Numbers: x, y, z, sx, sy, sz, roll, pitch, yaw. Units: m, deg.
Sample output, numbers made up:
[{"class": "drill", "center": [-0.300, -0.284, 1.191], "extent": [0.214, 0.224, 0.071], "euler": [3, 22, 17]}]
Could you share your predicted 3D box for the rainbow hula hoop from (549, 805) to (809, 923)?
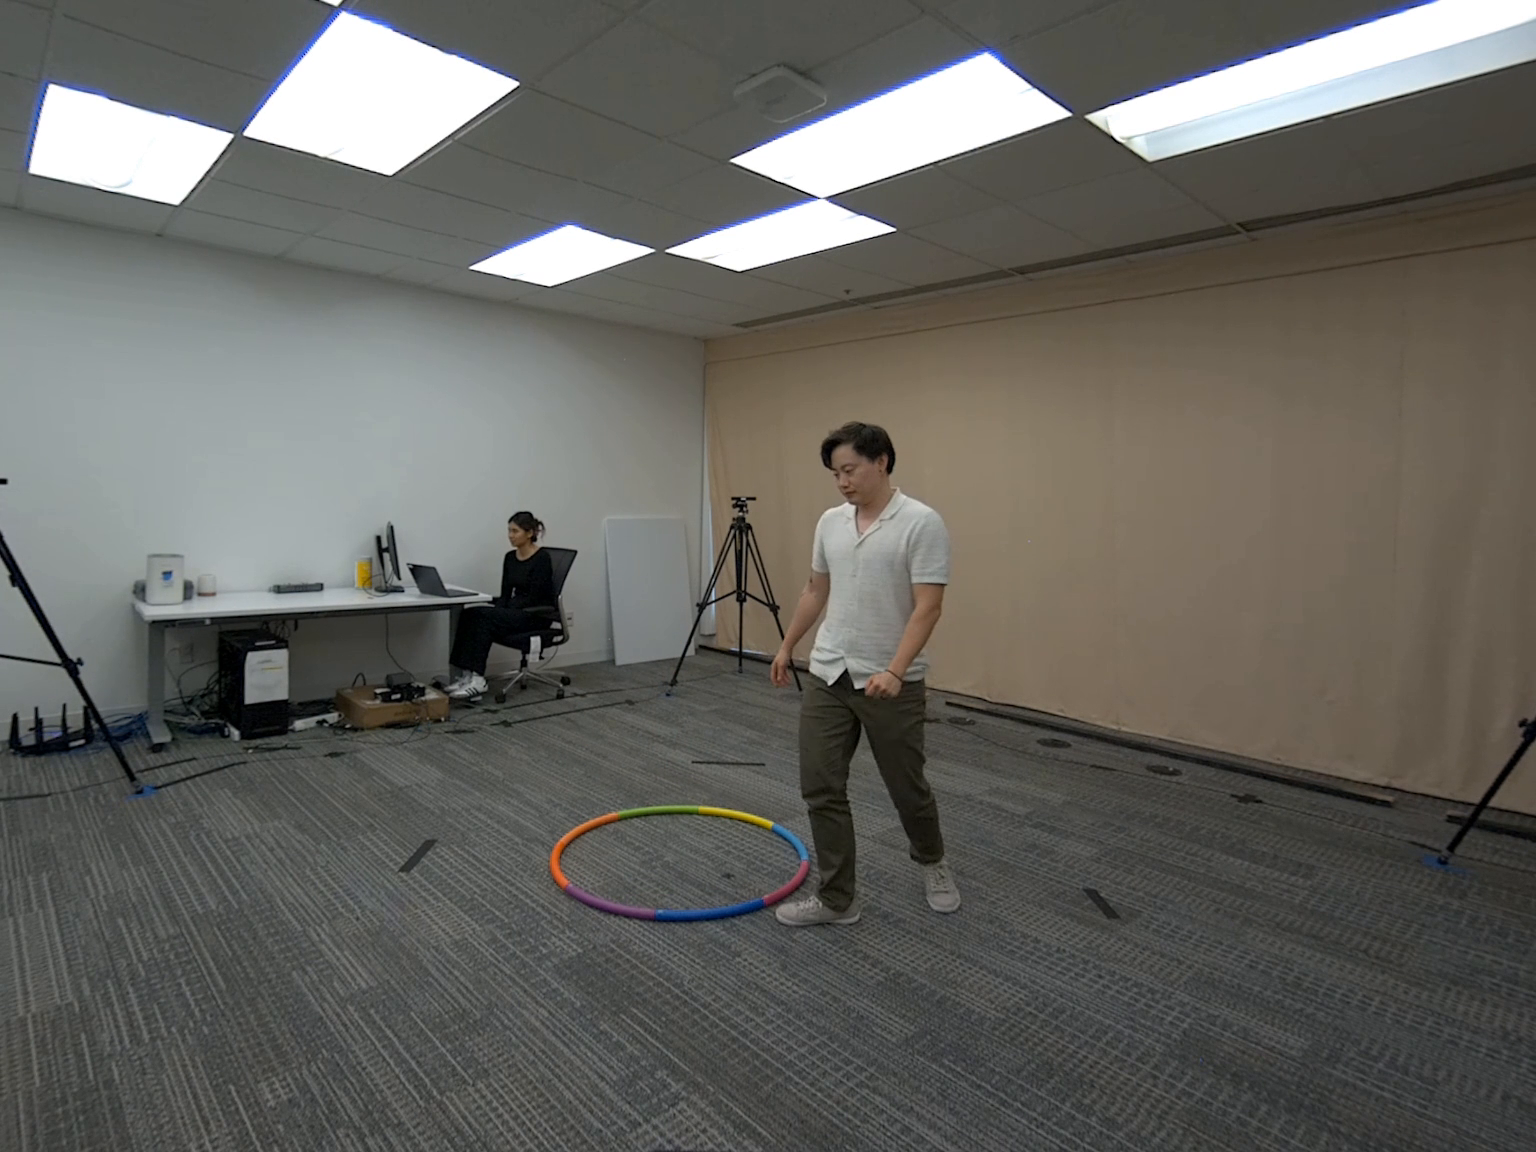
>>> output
[{"class": "rainbow hula hoop", "center": [-0.338, 1.060, 3.236], "extent": [0.978, 0.035, 0.982], "euler": [2, 5, -1]}]
